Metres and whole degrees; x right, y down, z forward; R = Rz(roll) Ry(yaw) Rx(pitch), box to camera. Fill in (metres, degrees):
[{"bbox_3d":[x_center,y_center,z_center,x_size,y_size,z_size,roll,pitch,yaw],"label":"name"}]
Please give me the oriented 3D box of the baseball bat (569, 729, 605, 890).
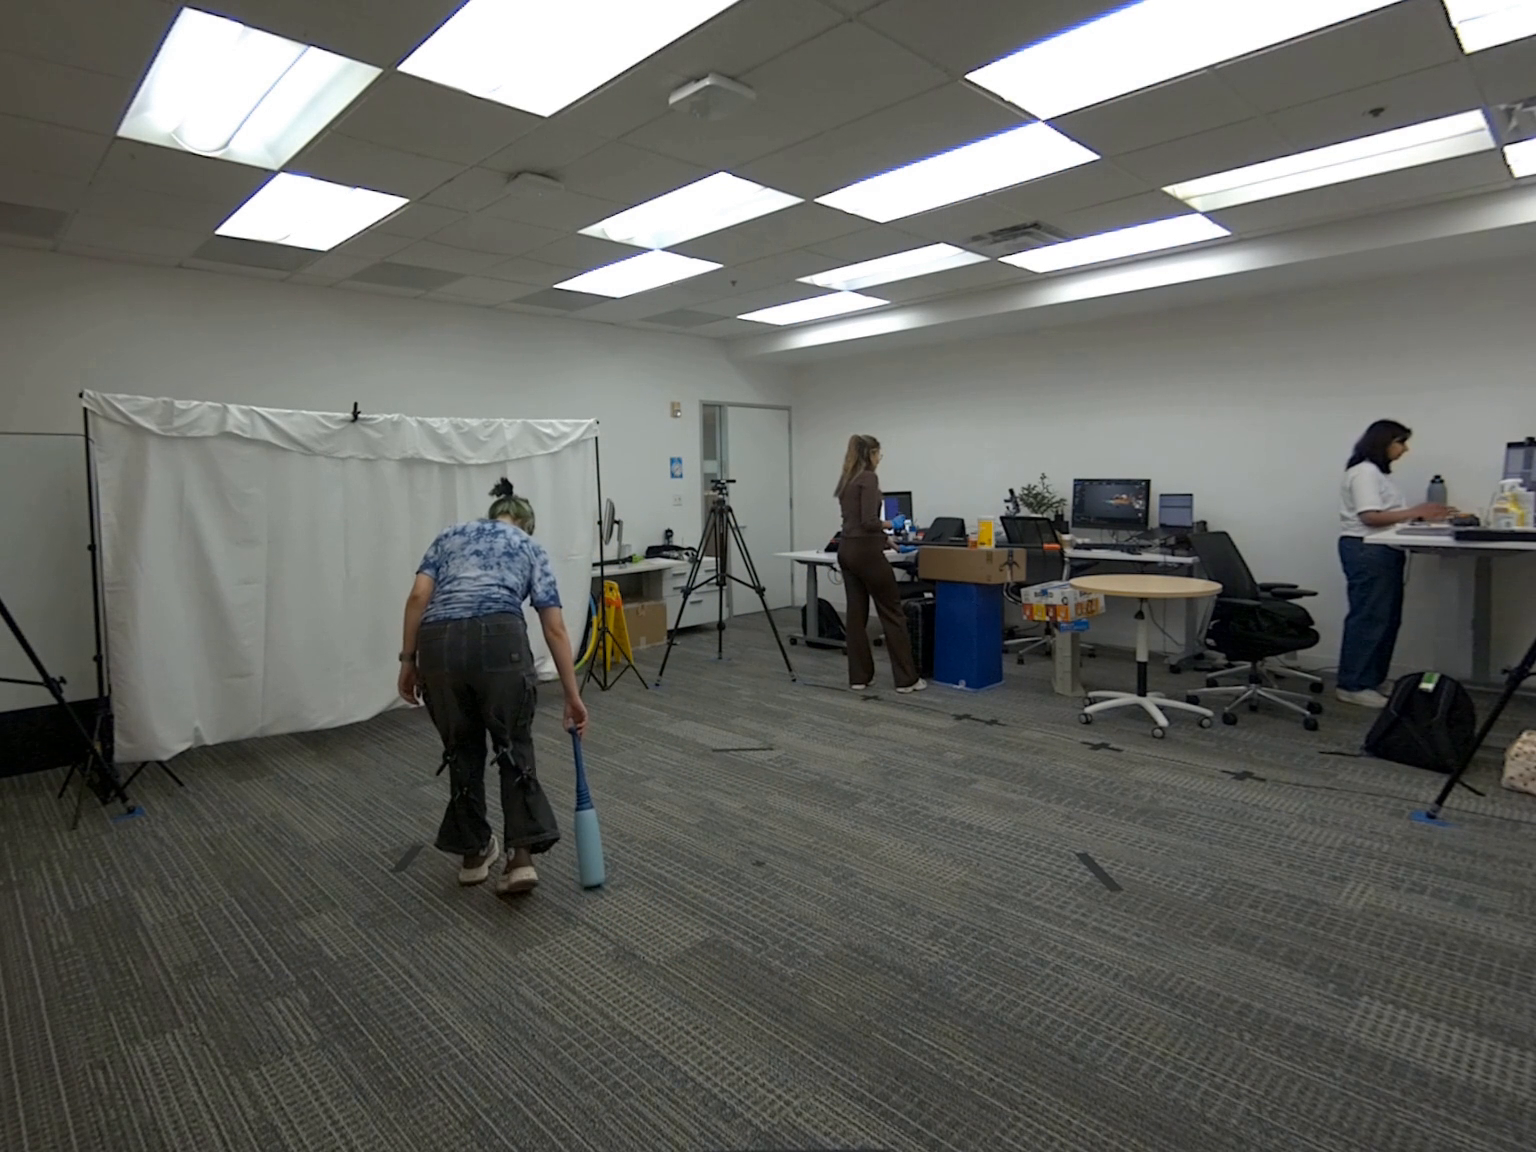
[{"bbox_3d":[-0.656,0.807,3.013,0.089,0.552,0.088,-11,-15,-4],"label":"baseball bat"}]
